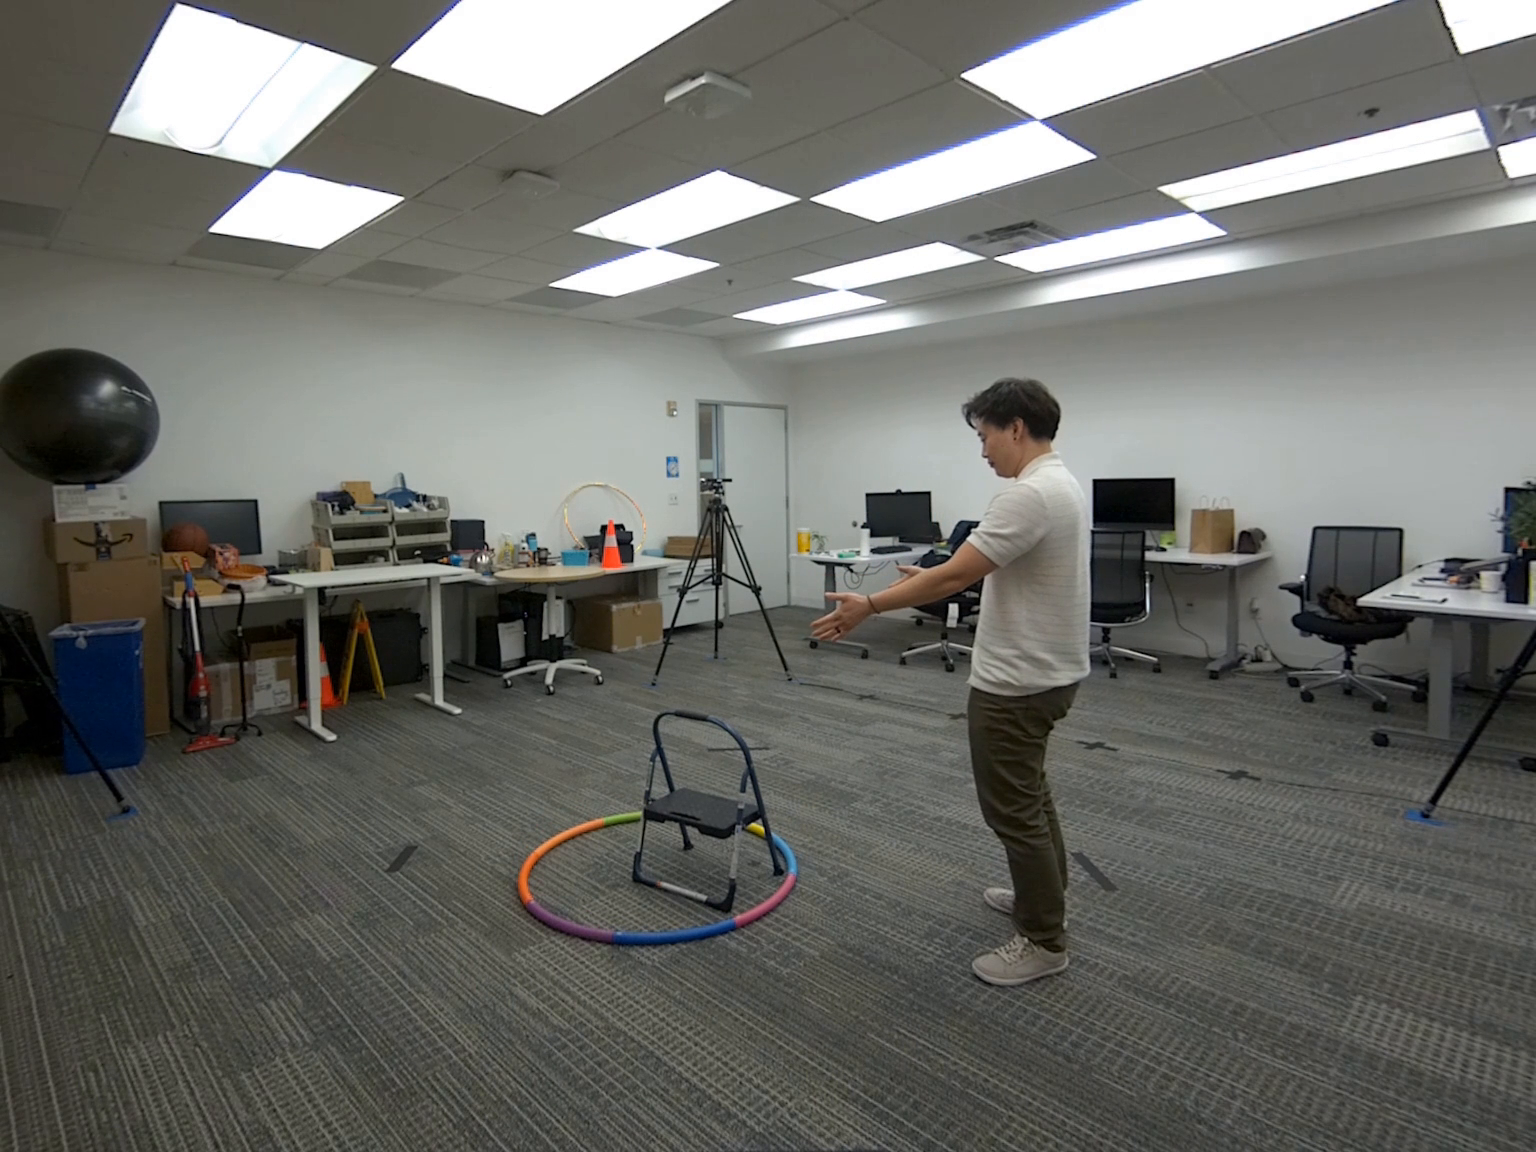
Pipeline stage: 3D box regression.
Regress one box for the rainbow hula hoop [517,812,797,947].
[{"bbox_3d":[-0.389,1.023,3.056,0.978,0.035,0.984,-2,7,-2],"label":"rainbow hula hoop"}]
